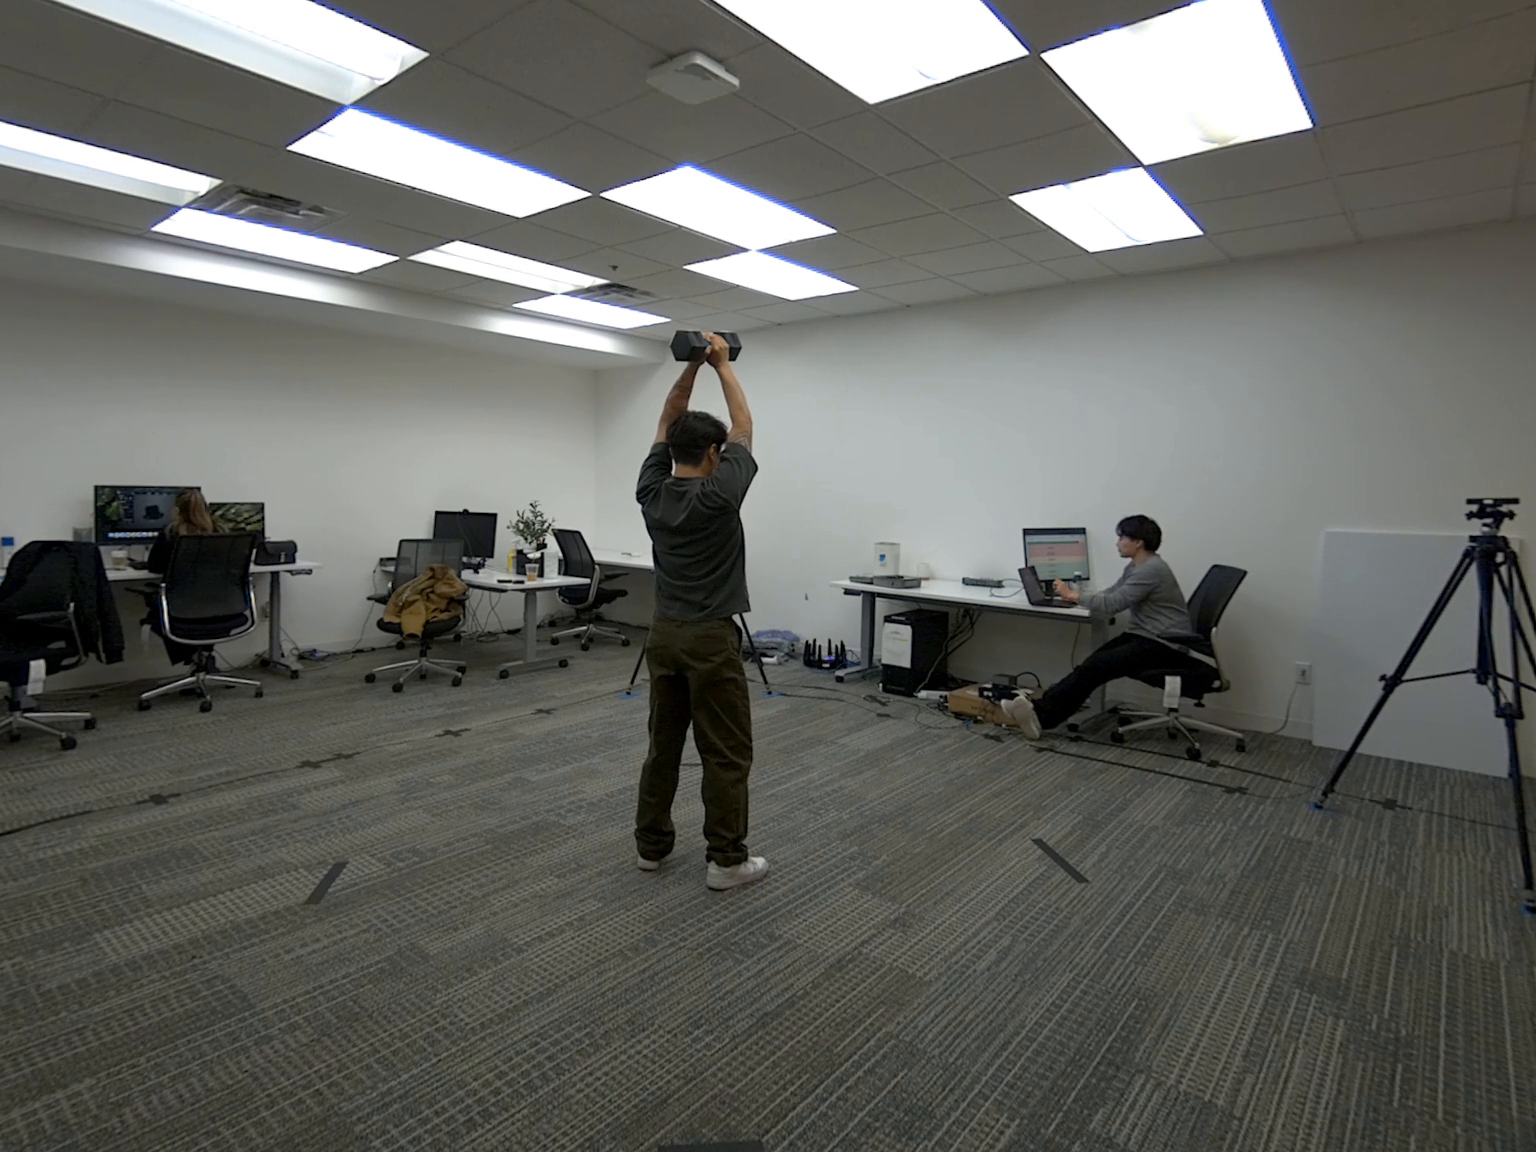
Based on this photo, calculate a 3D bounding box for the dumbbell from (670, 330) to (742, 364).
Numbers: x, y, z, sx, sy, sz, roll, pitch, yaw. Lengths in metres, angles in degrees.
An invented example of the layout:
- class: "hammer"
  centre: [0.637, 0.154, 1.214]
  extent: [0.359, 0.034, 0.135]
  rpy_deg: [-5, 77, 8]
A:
- class: "dumbbell"
  centre: [-0.232, -0.838, 3.076]
  extent: [0.110, 0.124, 0.287]
  rpy_deg: [-27, -6, 37]
